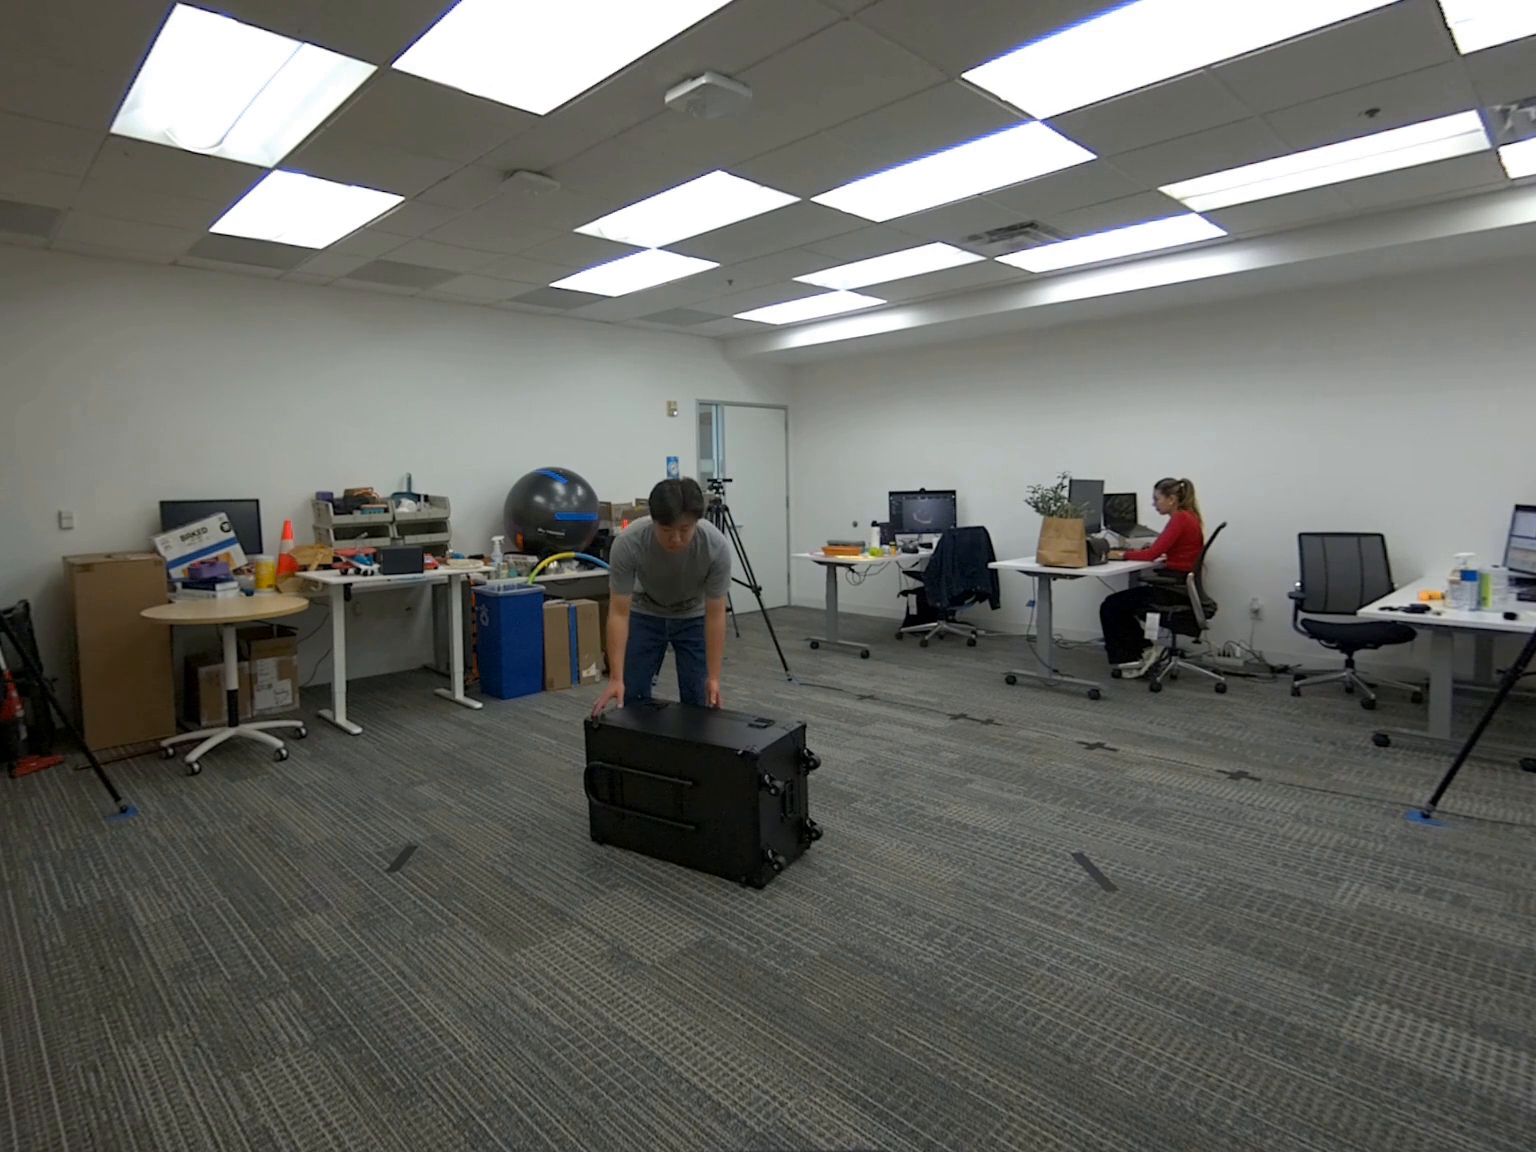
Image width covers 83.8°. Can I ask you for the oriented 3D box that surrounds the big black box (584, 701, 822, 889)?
[{"bbox_3d":[-0.251,0.782,3.205,0.885,0.518,0.388,2,7,31],"label":"big black box"}]
